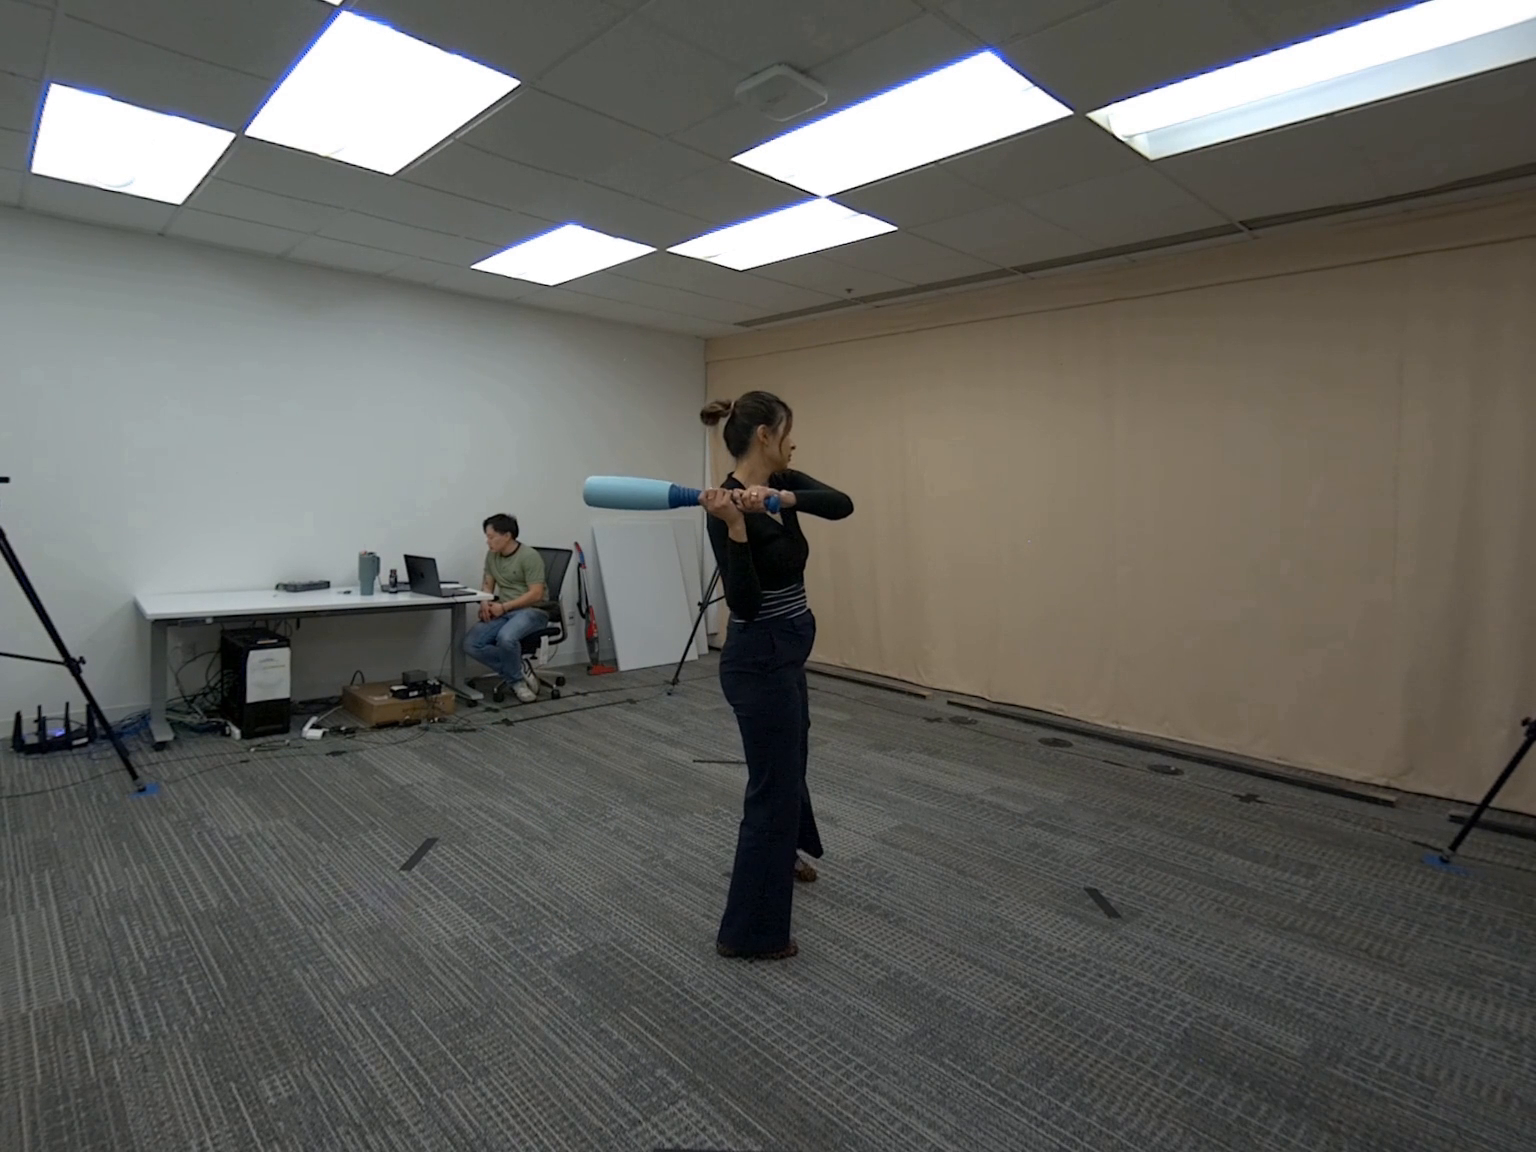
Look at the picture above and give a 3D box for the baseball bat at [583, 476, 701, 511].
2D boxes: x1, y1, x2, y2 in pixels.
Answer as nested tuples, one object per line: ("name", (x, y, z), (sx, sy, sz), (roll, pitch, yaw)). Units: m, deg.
("baseball bat", (-0.223, -0.212, 2.236), (0.548, 0.089, 0.088), (5, 5, 10))
